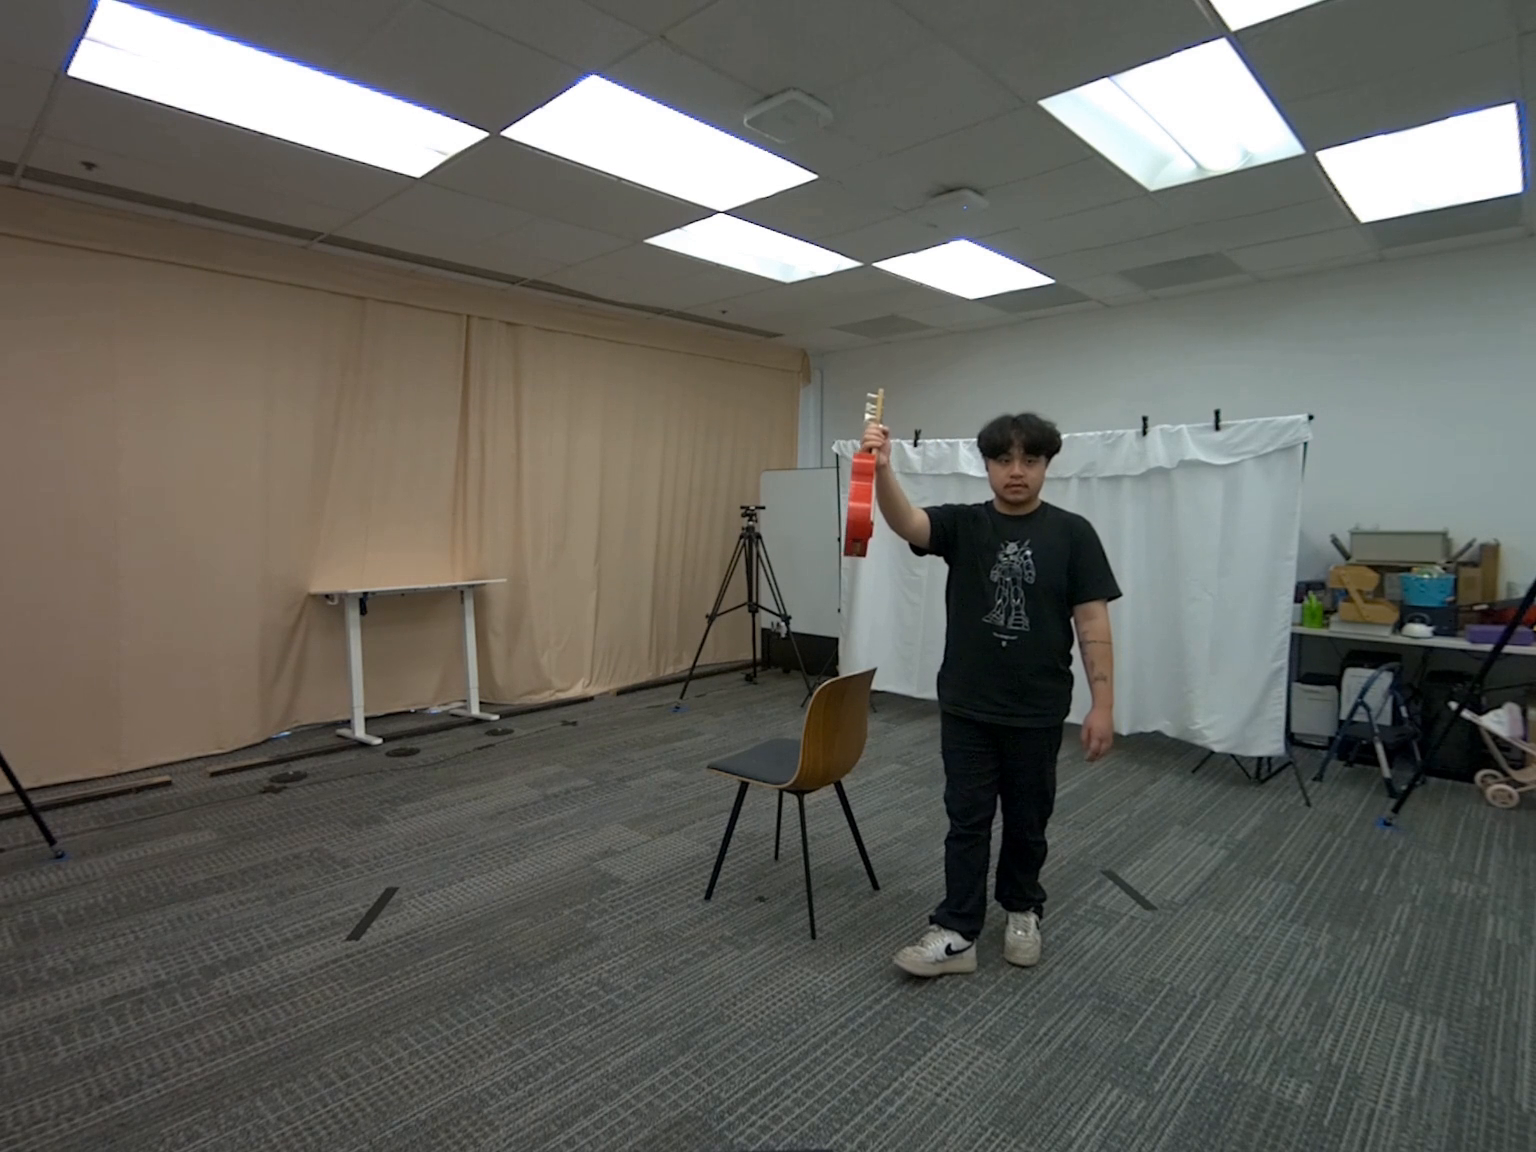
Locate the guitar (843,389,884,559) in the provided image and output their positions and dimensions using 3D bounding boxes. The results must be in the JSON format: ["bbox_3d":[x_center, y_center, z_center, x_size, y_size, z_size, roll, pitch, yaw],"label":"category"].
[{"bbox_3d":[0.266,-0.274,2.246,0.071,0.503,0.189,6,-35,8],"label":"guitar"}]
